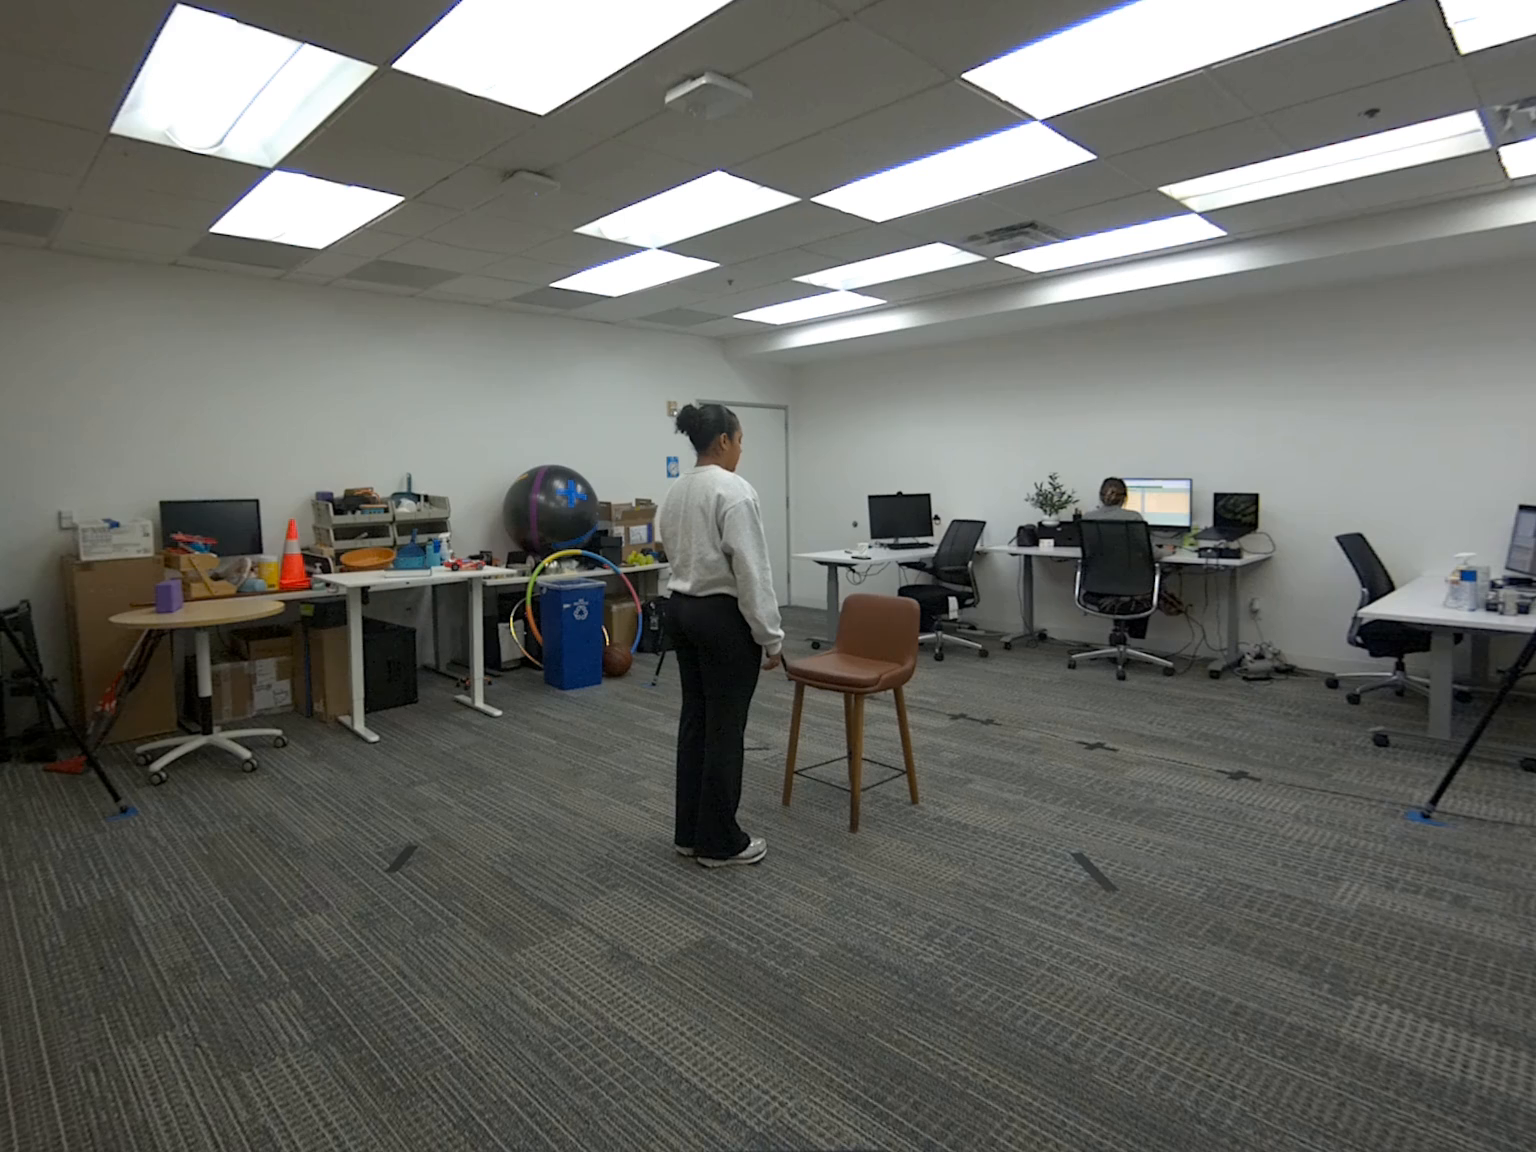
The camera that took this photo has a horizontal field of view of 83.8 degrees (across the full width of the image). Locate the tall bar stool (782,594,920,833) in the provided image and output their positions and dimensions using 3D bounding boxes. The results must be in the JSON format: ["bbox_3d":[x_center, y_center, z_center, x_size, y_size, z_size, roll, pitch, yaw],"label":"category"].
[{"bbox_3d":[0.361,0.540,3.633,0.454,0.887,0.471,-1,4,-43],"label":"tall bar stool"}]
